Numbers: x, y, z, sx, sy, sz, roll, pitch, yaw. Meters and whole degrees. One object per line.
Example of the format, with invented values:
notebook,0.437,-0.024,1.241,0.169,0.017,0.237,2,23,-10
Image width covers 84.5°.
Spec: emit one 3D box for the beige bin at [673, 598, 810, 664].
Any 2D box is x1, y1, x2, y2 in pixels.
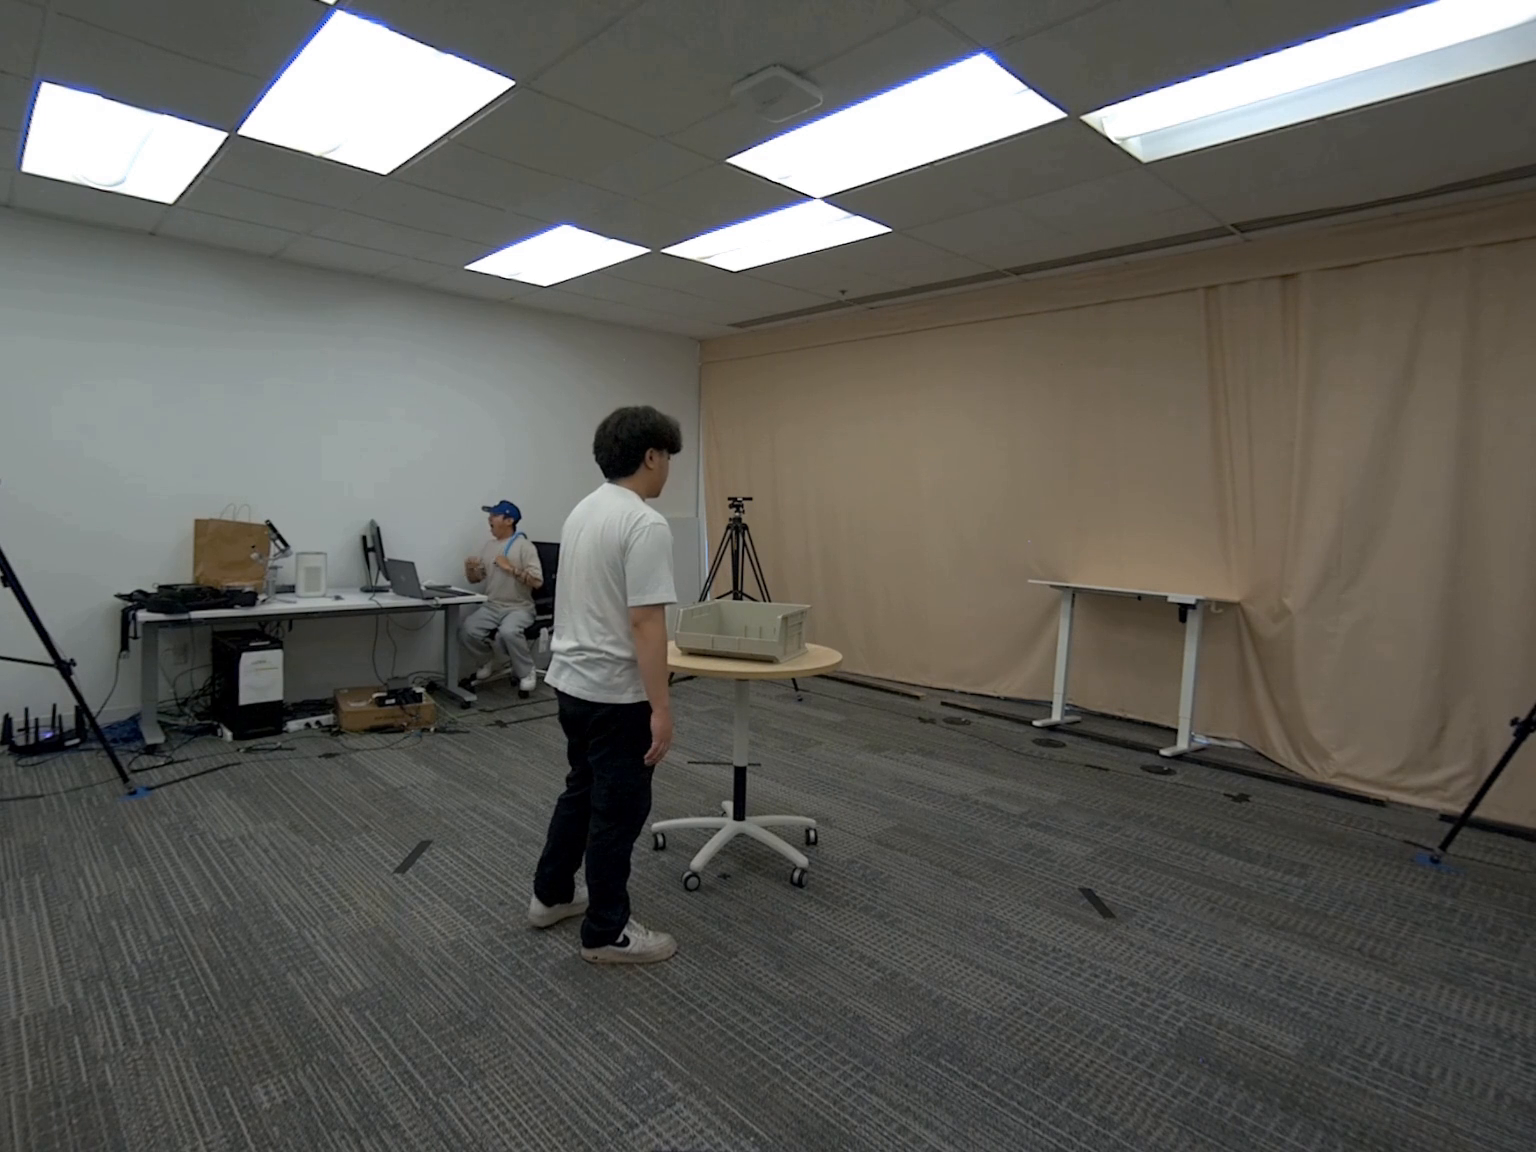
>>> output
beige bin,-0.096,0.211,3.247,0.430,0.189,0.371,2,3,22
